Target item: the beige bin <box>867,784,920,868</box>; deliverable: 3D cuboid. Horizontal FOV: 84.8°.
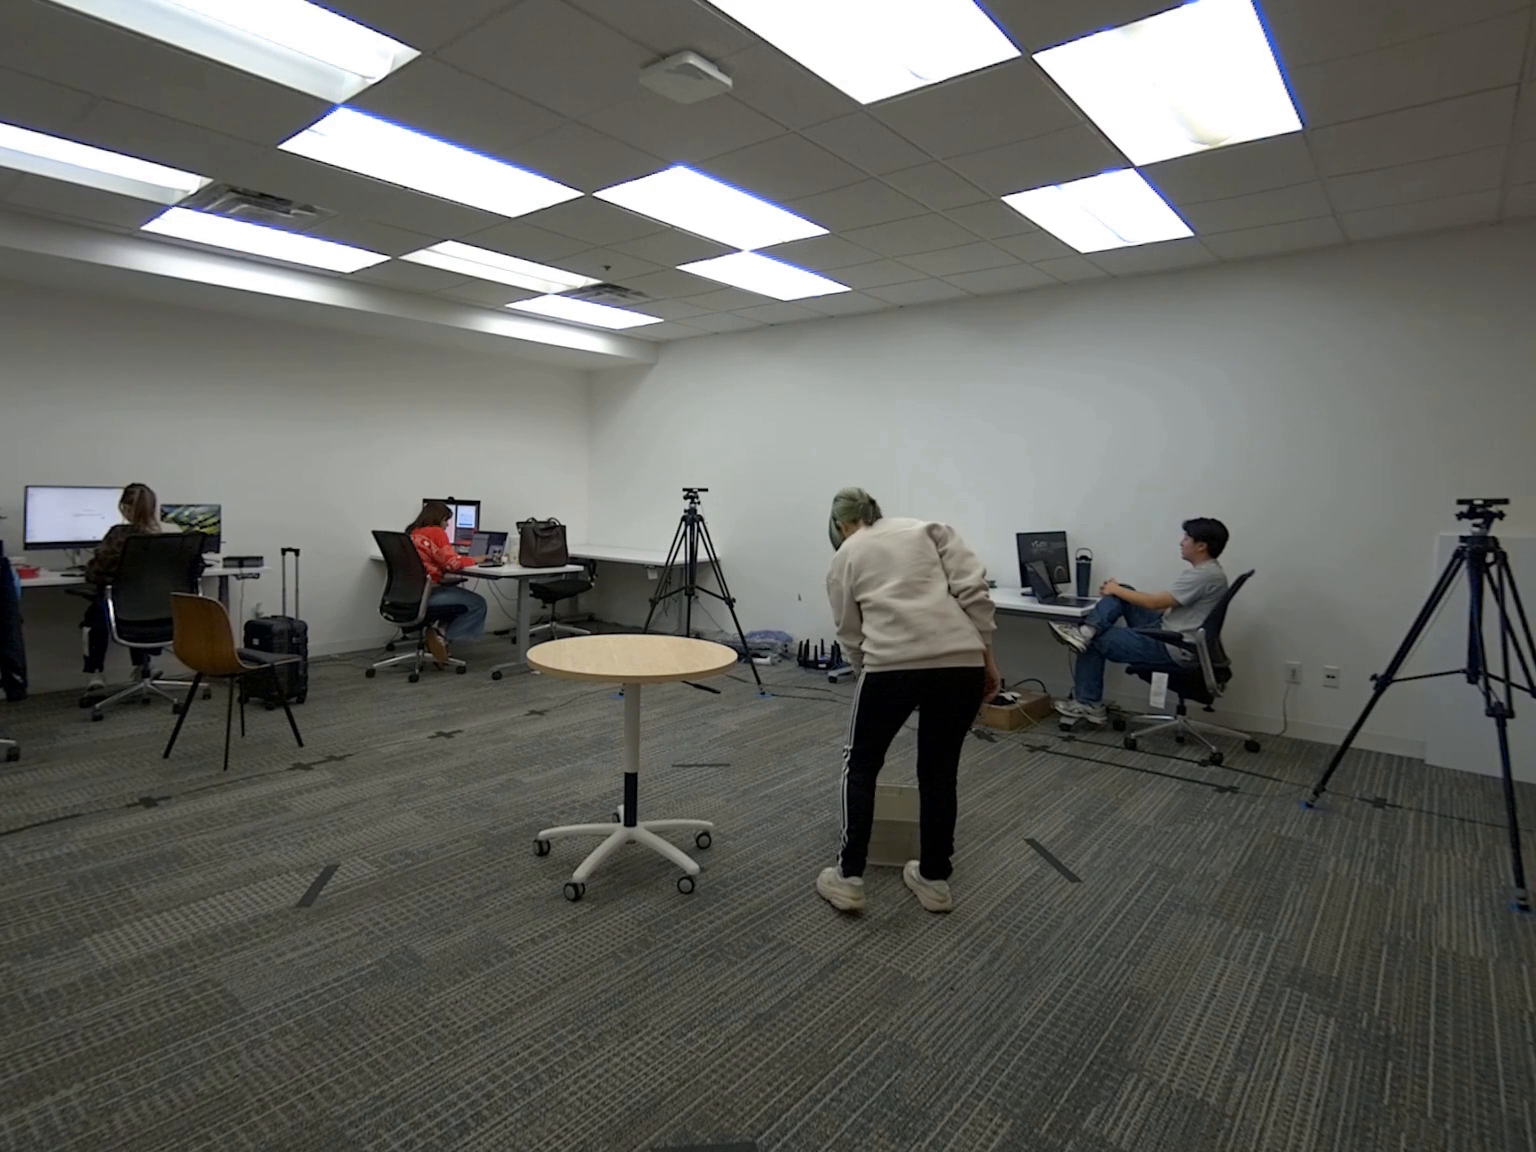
[{"bbox_3d":[0.472,0.969,3.376,0.380,0.188,0.422,0,6,5],"label":"beige bin"}]
